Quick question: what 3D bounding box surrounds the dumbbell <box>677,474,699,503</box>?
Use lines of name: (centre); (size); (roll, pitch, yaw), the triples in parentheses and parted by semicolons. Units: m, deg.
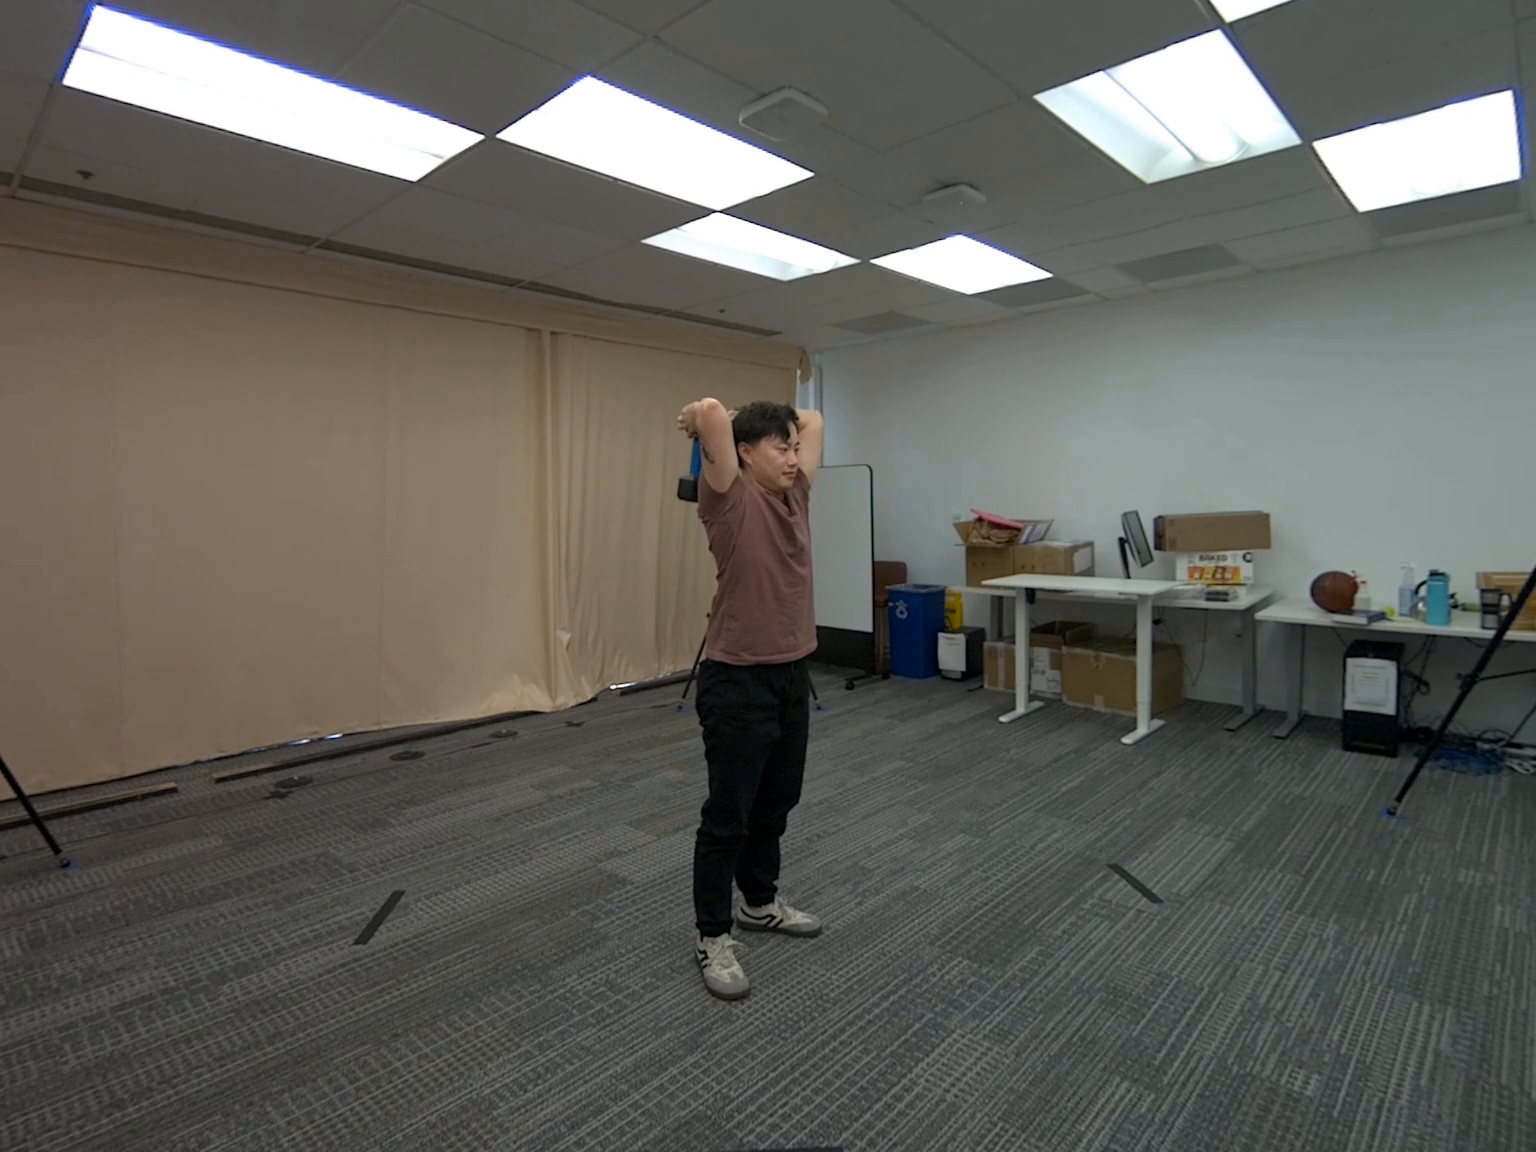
dumbbell: (-0.203, -0.391, 2.663); (0.127, 0.292, 0.105); (15, 10, 38)
